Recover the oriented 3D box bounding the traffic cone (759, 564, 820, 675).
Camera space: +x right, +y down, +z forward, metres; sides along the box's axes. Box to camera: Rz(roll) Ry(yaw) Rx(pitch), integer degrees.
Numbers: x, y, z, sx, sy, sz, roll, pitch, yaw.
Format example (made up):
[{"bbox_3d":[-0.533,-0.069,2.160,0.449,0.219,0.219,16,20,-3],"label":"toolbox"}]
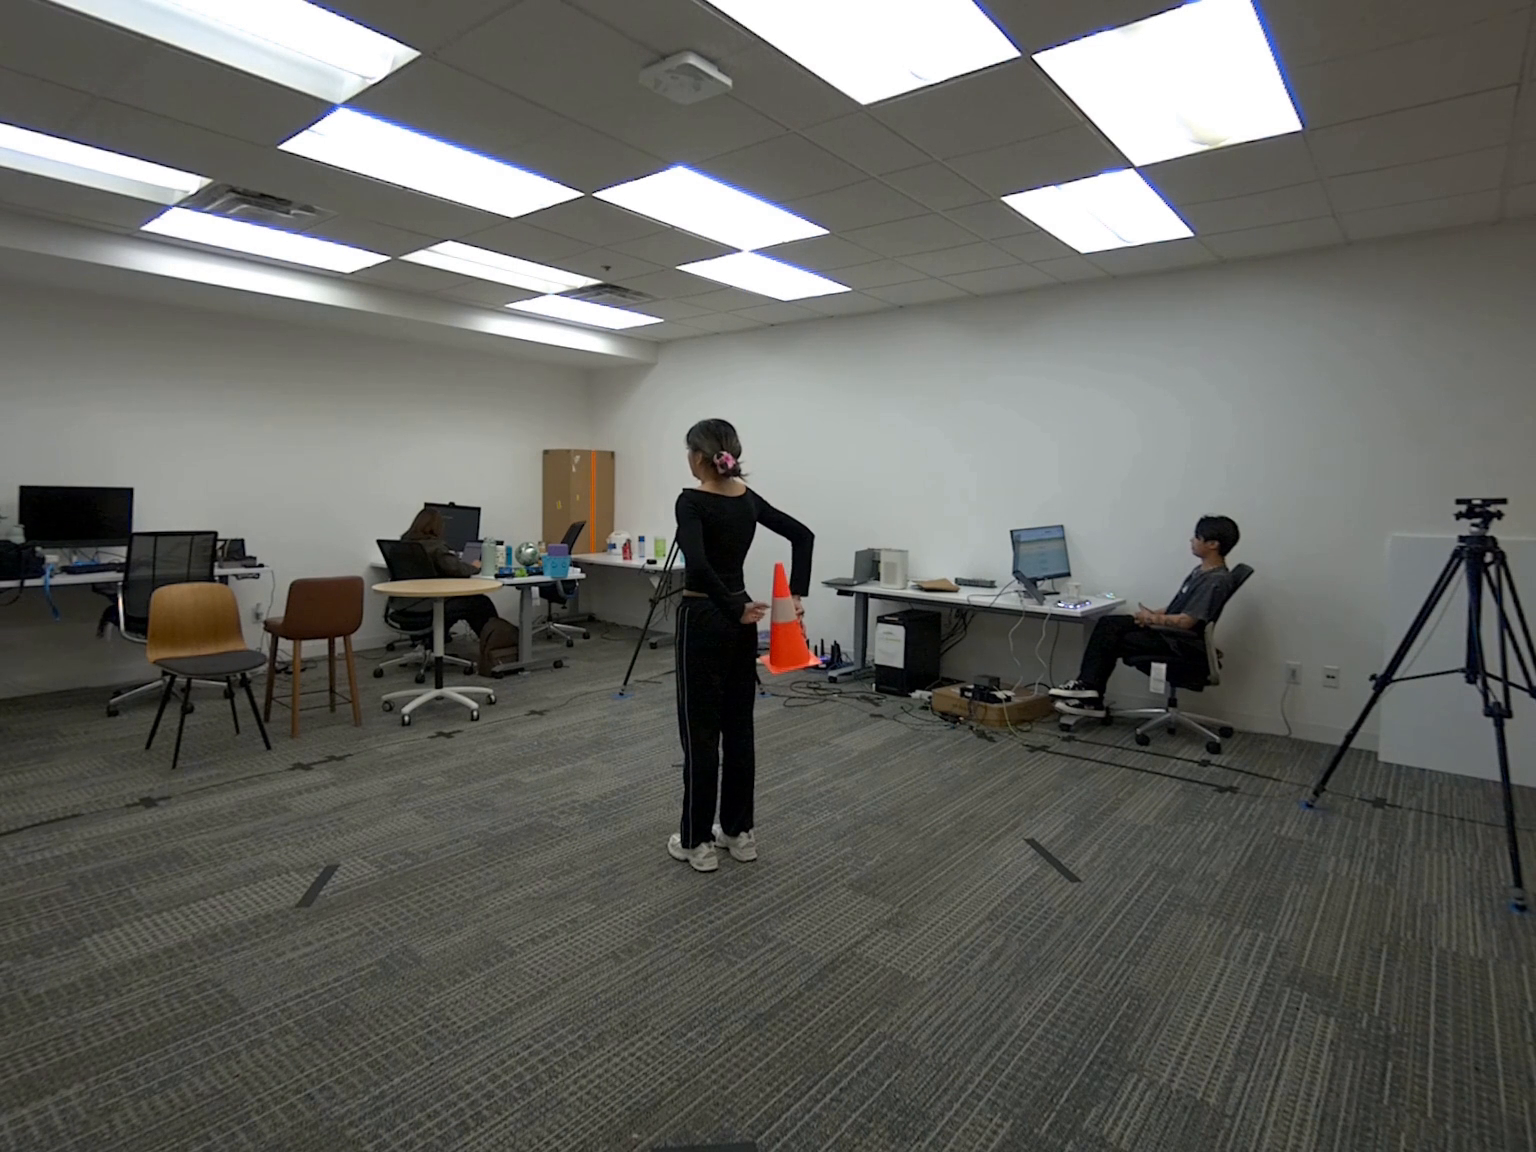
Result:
[{"bbox_3d":[0.047,0.139,3.207,0.202,0.379,0.209,-9,13,-19],"label":"traffic cone"}]
